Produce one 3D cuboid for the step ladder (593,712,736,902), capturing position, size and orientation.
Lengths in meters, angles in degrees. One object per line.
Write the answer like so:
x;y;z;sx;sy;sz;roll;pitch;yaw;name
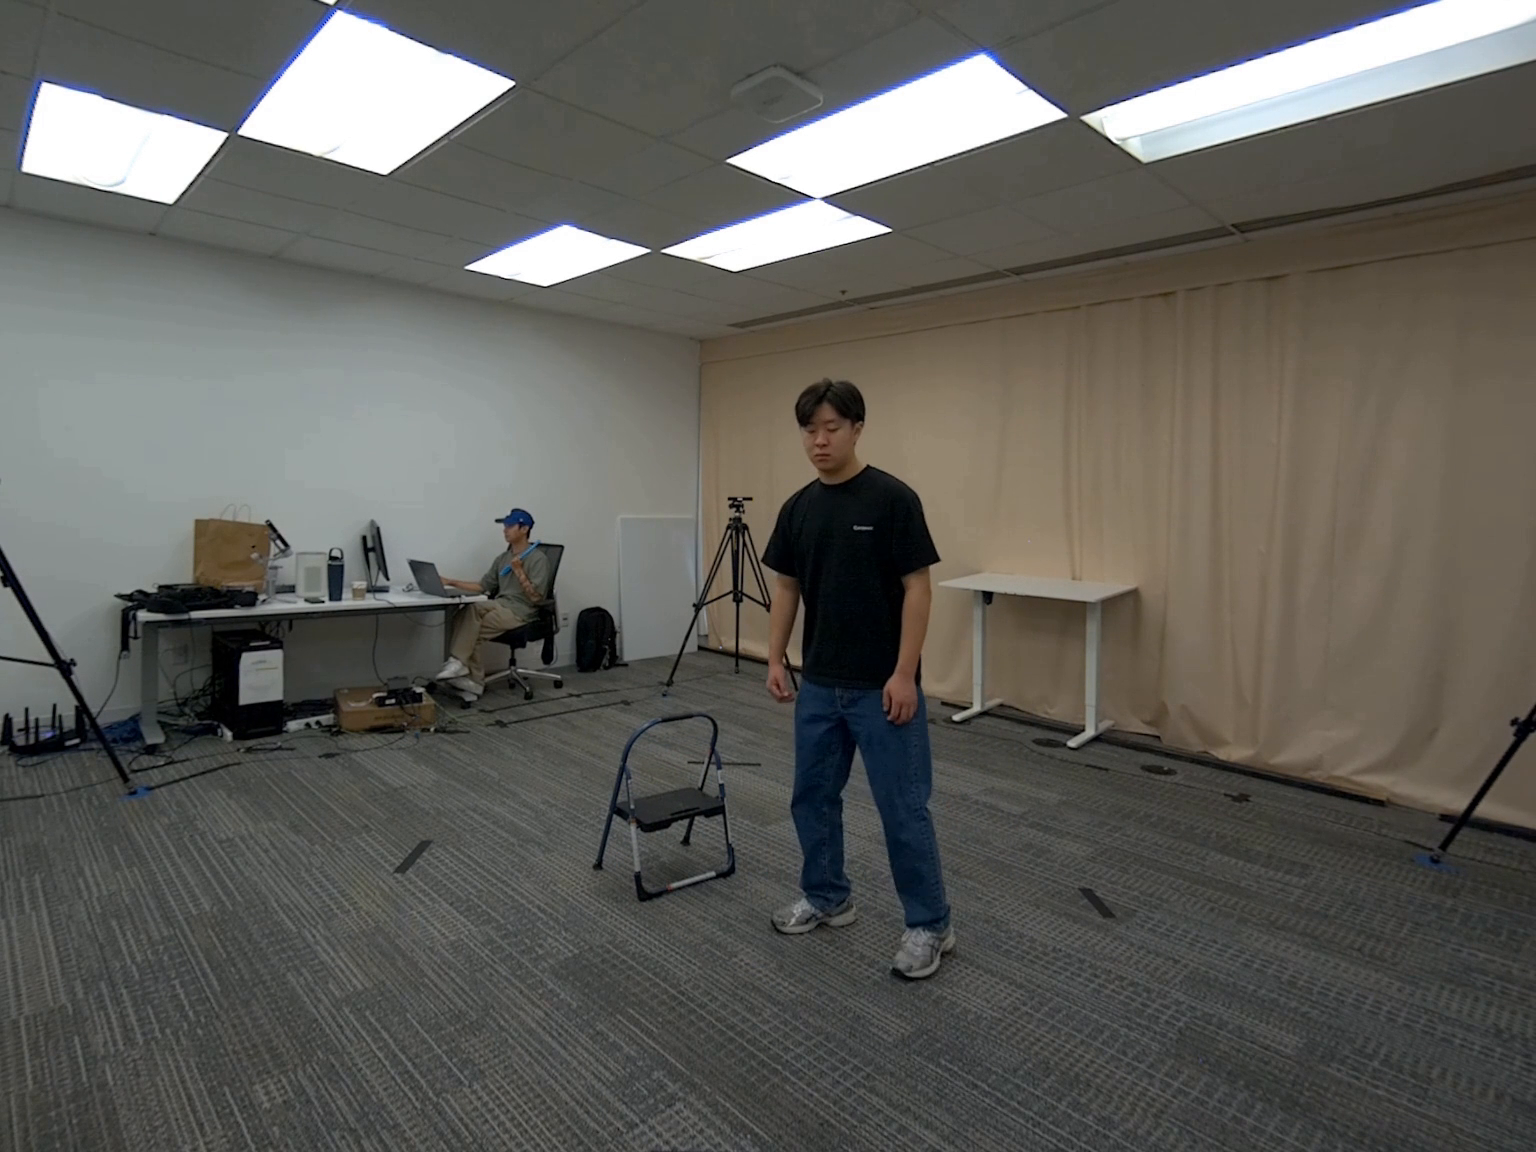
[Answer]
-0.385;0.794;3.124;0.421;0.604;0.358;-2;5;-39;step ladder
